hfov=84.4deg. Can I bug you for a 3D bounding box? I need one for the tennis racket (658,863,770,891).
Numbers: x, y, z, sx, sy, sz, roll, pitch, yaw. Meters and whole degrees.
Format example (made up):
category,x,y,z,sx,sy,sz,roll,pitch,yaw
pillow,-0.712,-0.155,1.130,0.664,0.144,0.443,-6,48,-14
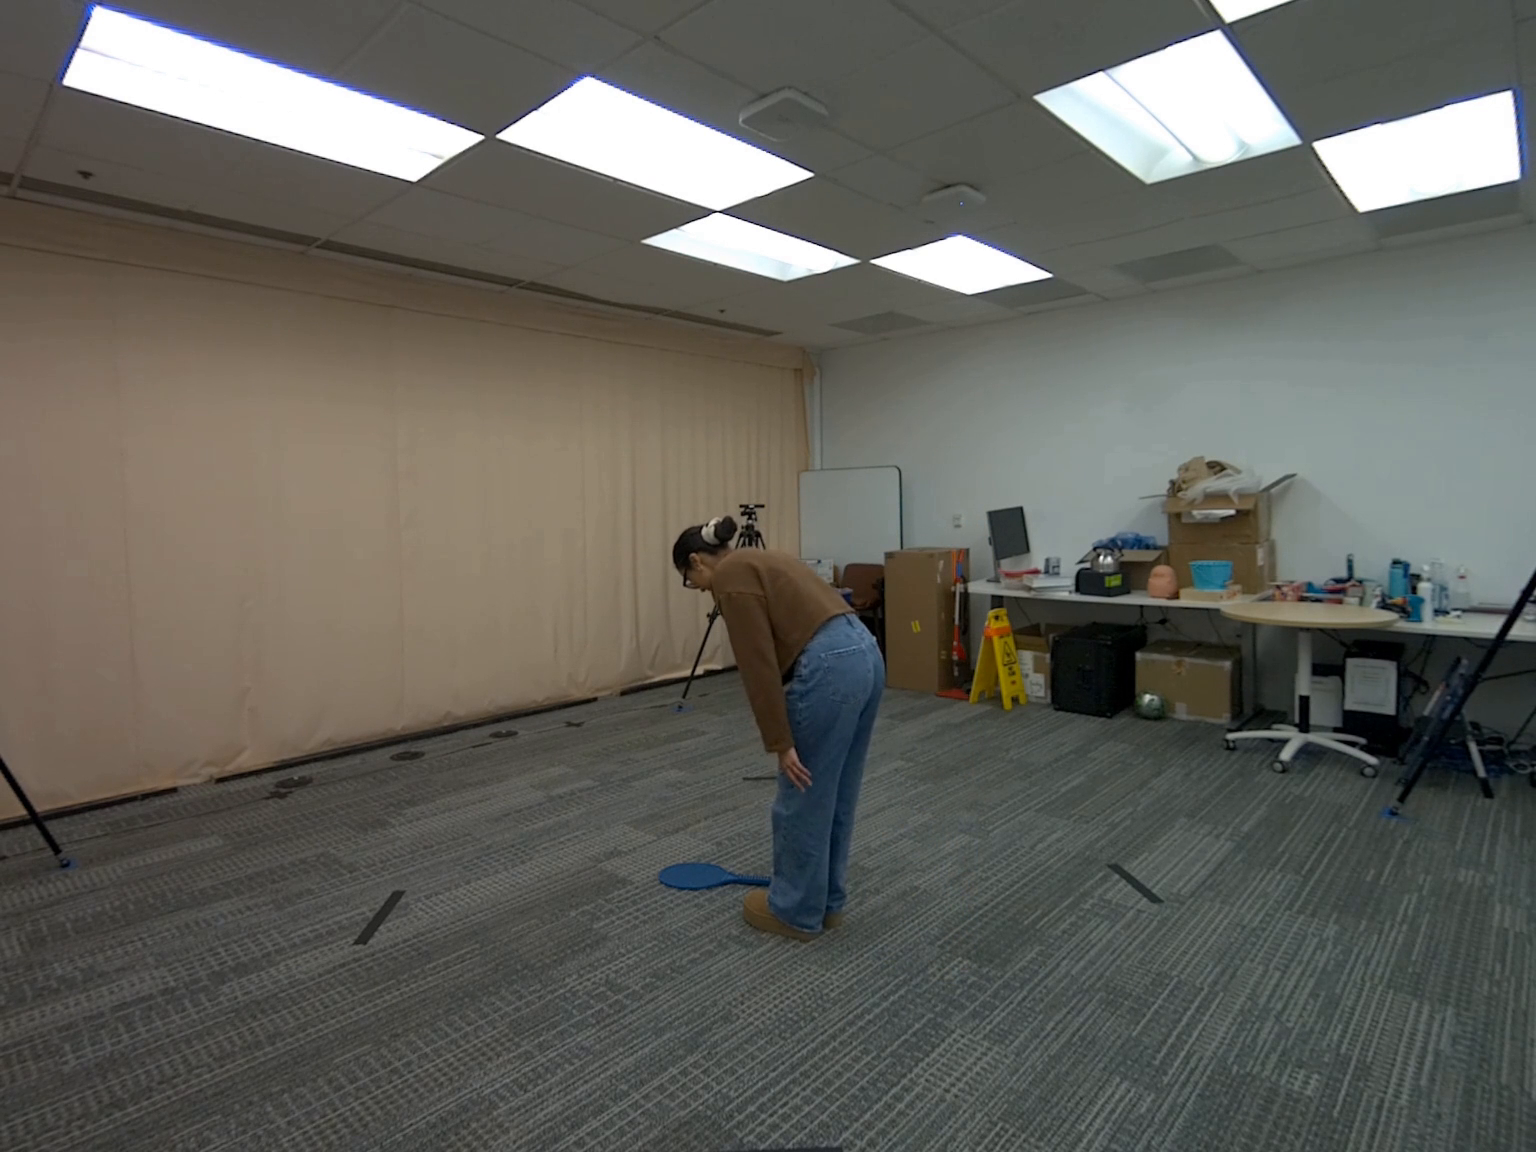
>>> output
category,x,y,z,sx,sy,sz,roll,pitch,yaw
tennis racket,-0.197,1.116,3.127,0.440,0.031,0.211,-1,5,16
